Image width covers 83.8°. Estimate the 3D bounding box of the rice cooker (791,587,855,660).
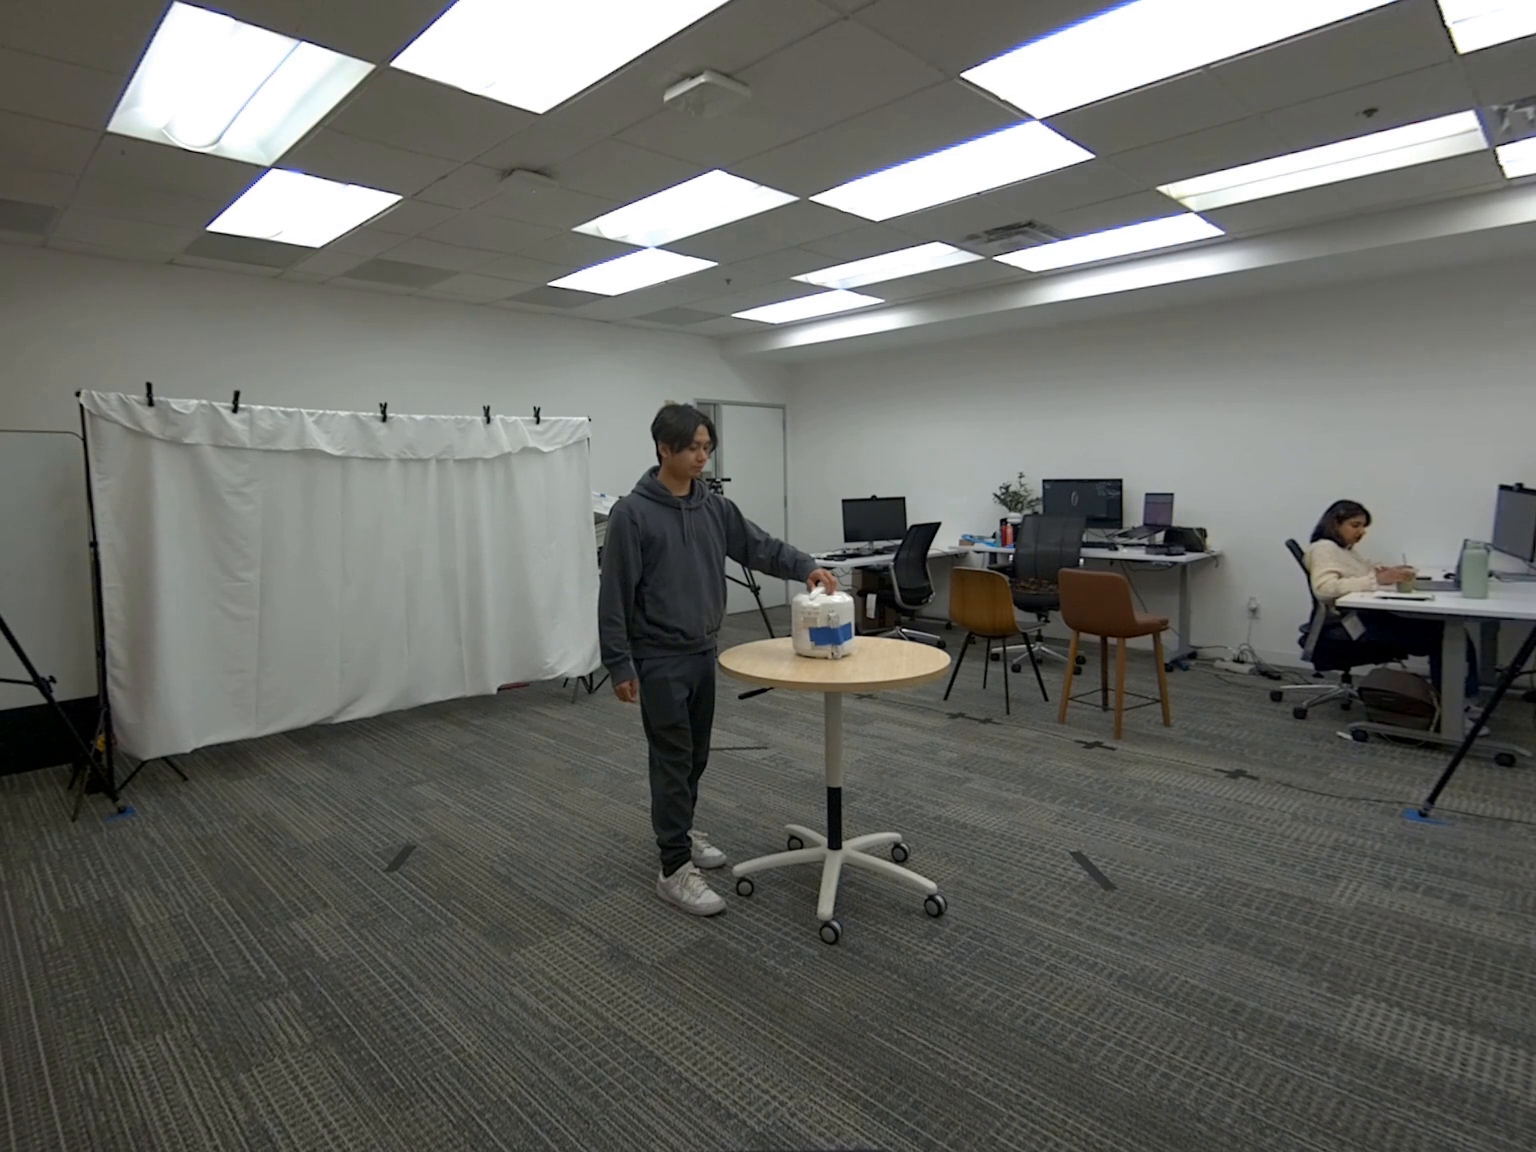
[{"bbox_3d":[0.181,0.149,2.890,0.223,0.232,0.216,1,5,29],"label":"rice cooker"}]
